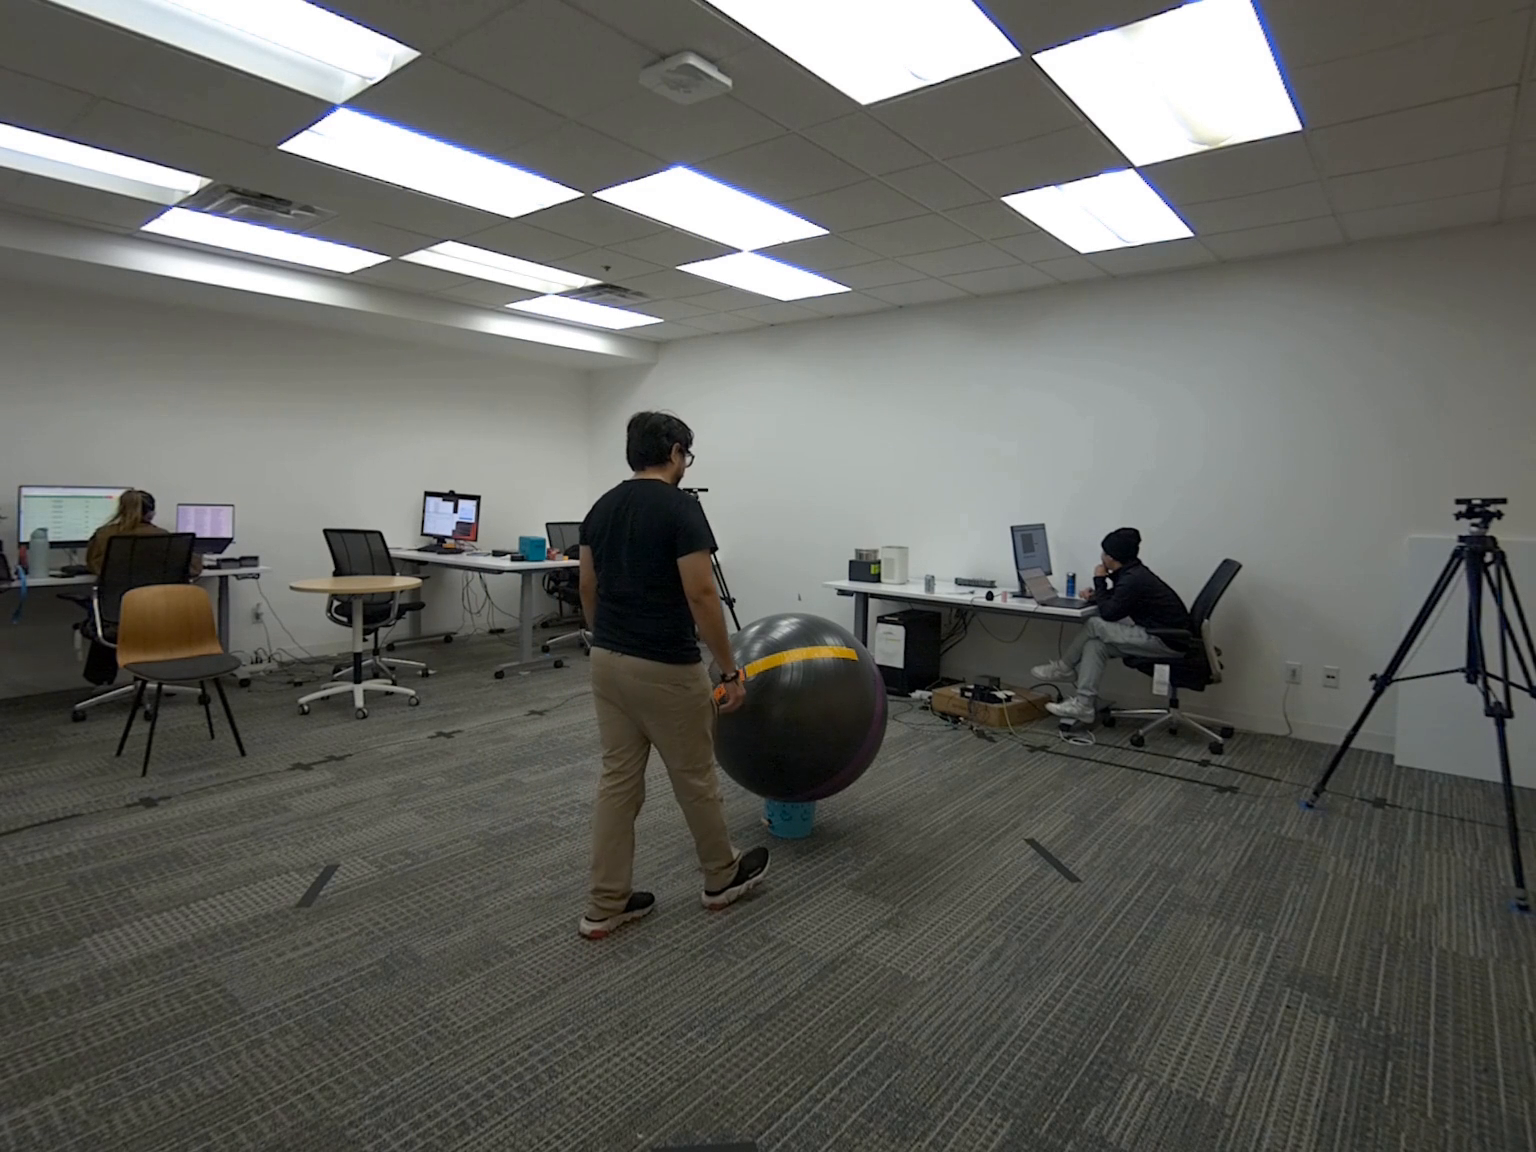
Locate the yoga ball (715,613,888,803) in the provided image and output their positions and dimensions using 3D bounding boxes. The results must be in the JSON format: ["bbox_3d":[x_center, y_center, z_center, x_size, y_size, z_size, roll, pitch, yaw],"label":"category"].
[{"bbox_3d":[0.100,0.532,3.470,0.757,0.755,0.762,1,4,-2],"label":"yoga ball"}]
